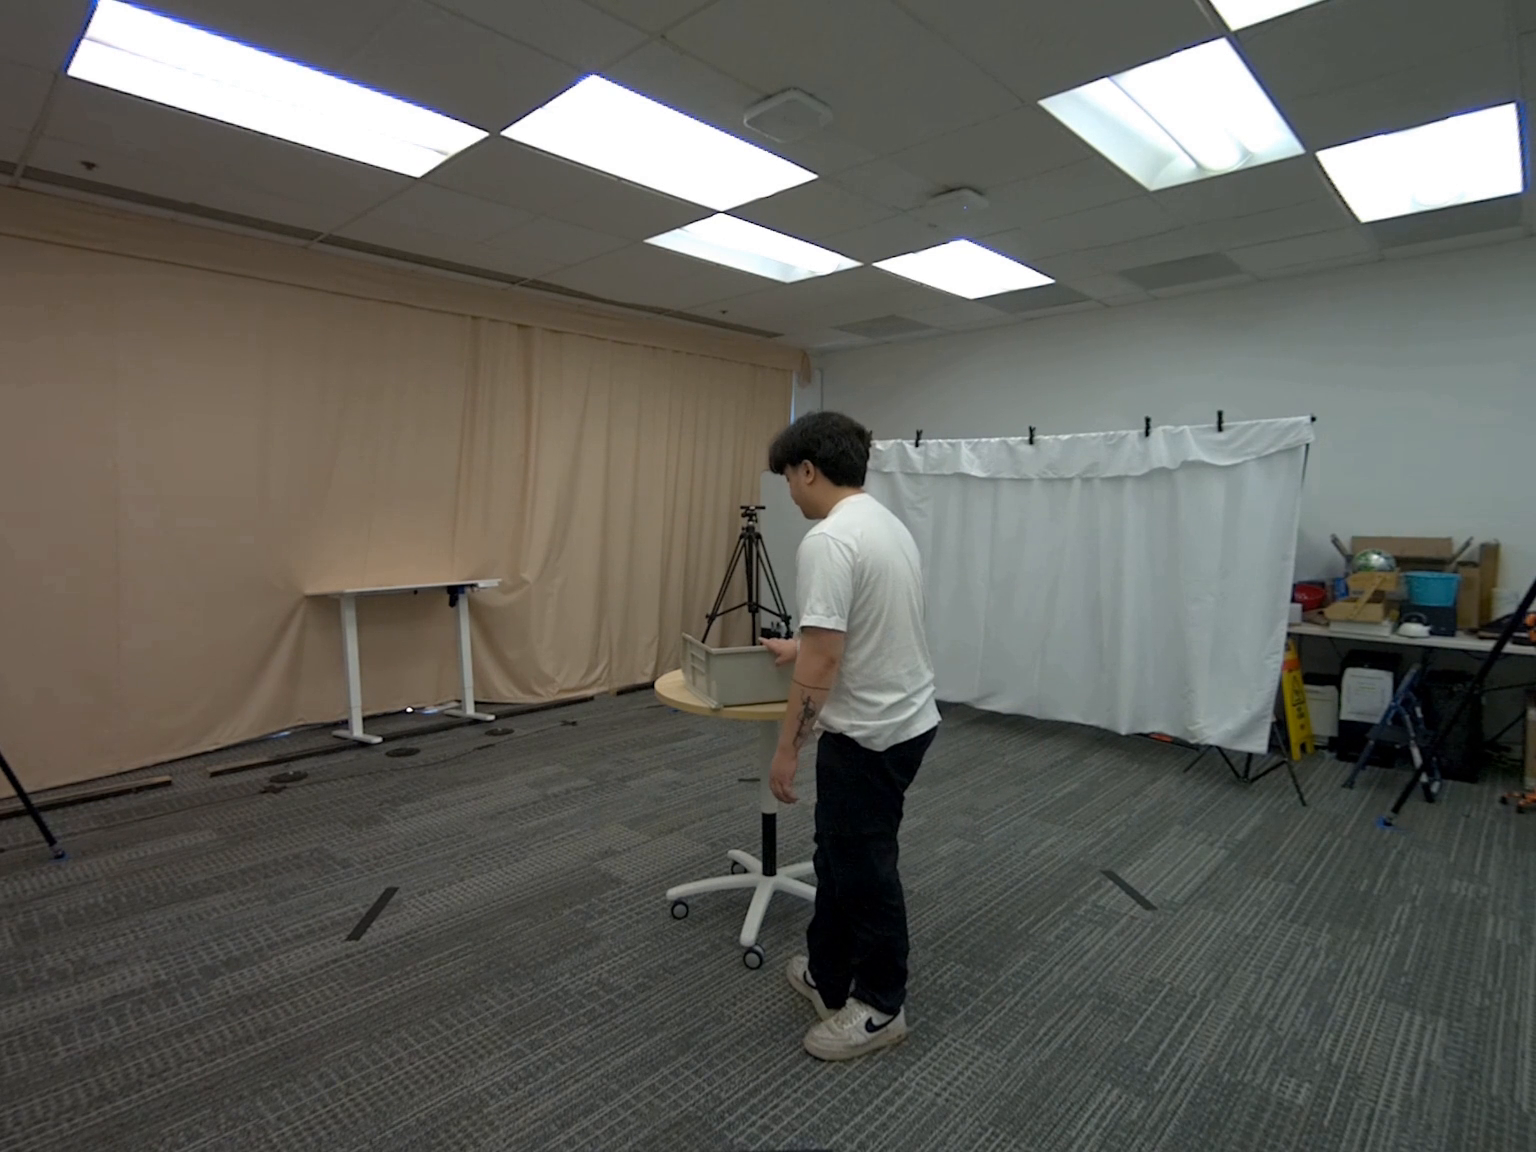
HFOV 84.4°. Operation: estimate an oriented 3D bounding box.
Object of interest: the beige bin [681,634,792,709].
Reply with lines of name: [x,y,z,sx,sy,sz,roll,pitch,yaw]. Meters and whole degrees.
beige bin: [-0.031,0.288,2.697,0.415,0.188,0.385,-2,5,-18]
